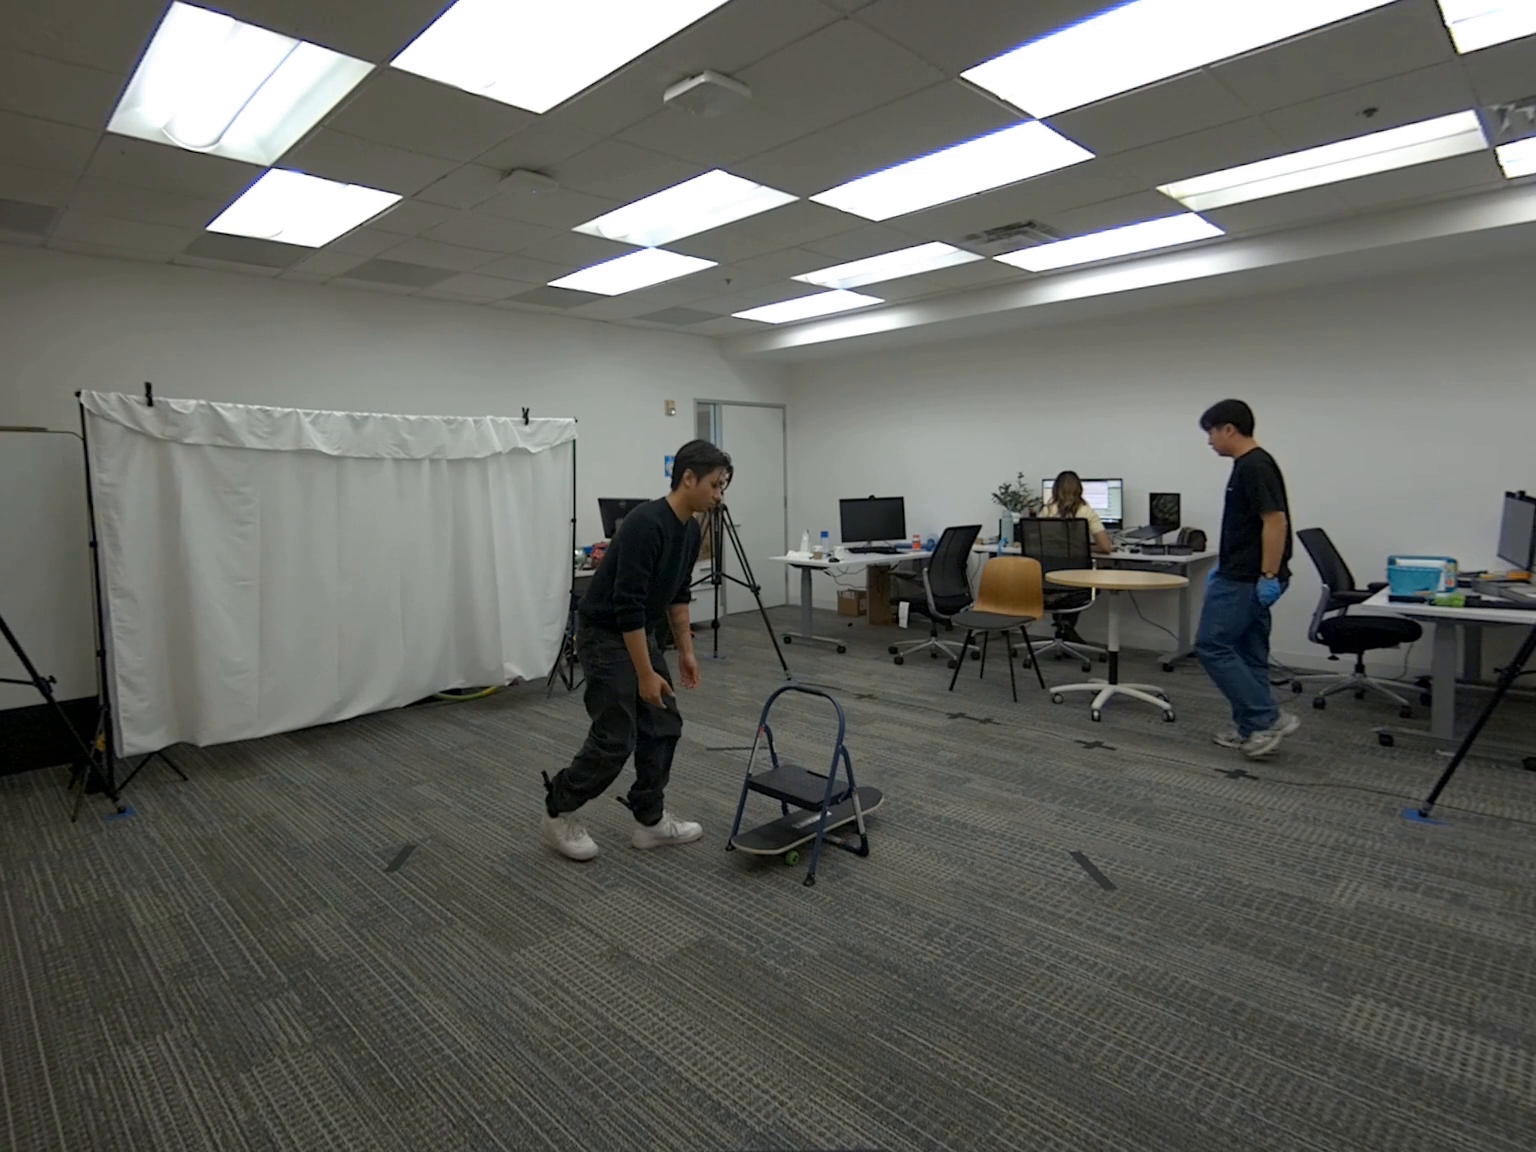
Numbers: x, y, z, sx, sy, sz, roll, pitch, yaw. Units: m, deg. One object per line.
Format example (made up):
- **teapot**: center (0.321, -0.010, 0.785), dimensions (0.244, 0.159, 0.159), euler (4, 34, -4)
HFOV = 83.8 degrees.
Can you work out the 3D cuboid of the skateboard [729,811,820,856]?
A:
- **skateboard**: center (0.163, 0.955, 3.273), dimensions (0.765, 0.110, 0.199), euler (-8, 9, -44)
